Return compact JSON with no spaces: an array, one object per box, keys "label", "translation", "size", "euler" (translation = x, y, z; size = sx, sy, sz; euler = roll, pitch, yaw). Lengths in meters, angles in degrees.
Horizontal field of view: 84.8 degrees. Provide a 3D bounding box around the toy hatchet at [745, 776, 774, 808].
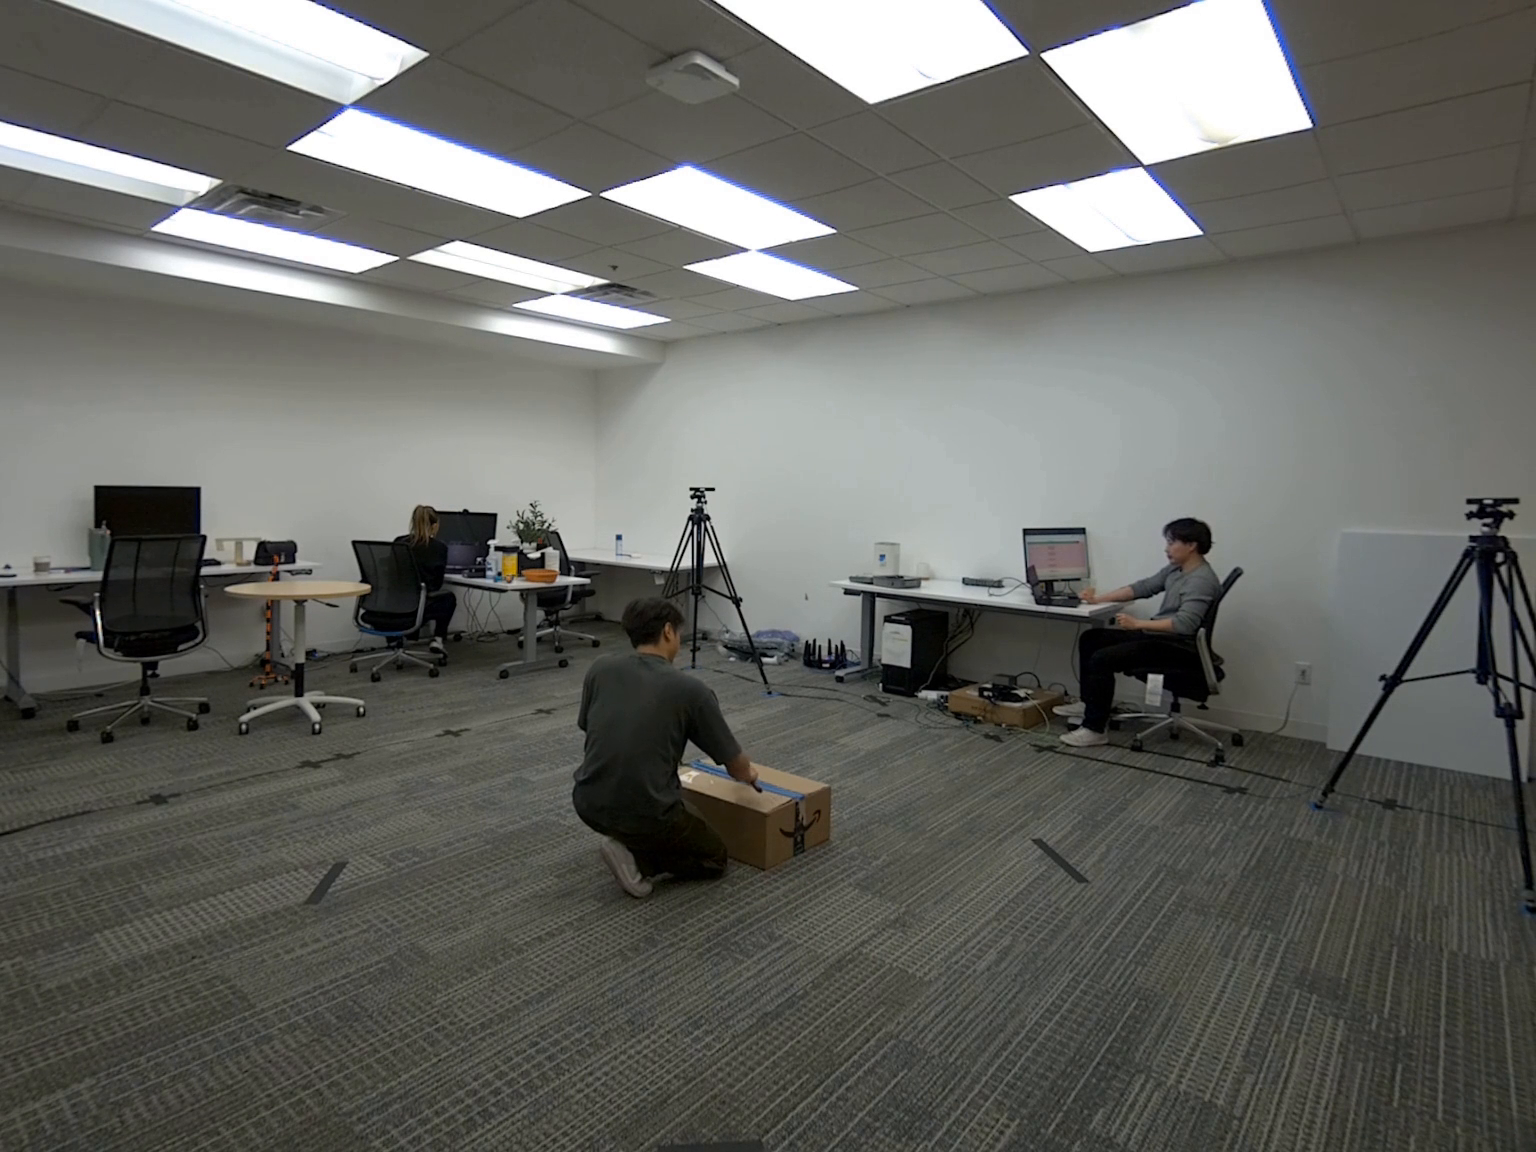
[{"label":"toy hatchet","translation":[-0.081,0.771,3.274],"size":[0.126,0.029,0.281],"euler":[50,-2,-34]}]
